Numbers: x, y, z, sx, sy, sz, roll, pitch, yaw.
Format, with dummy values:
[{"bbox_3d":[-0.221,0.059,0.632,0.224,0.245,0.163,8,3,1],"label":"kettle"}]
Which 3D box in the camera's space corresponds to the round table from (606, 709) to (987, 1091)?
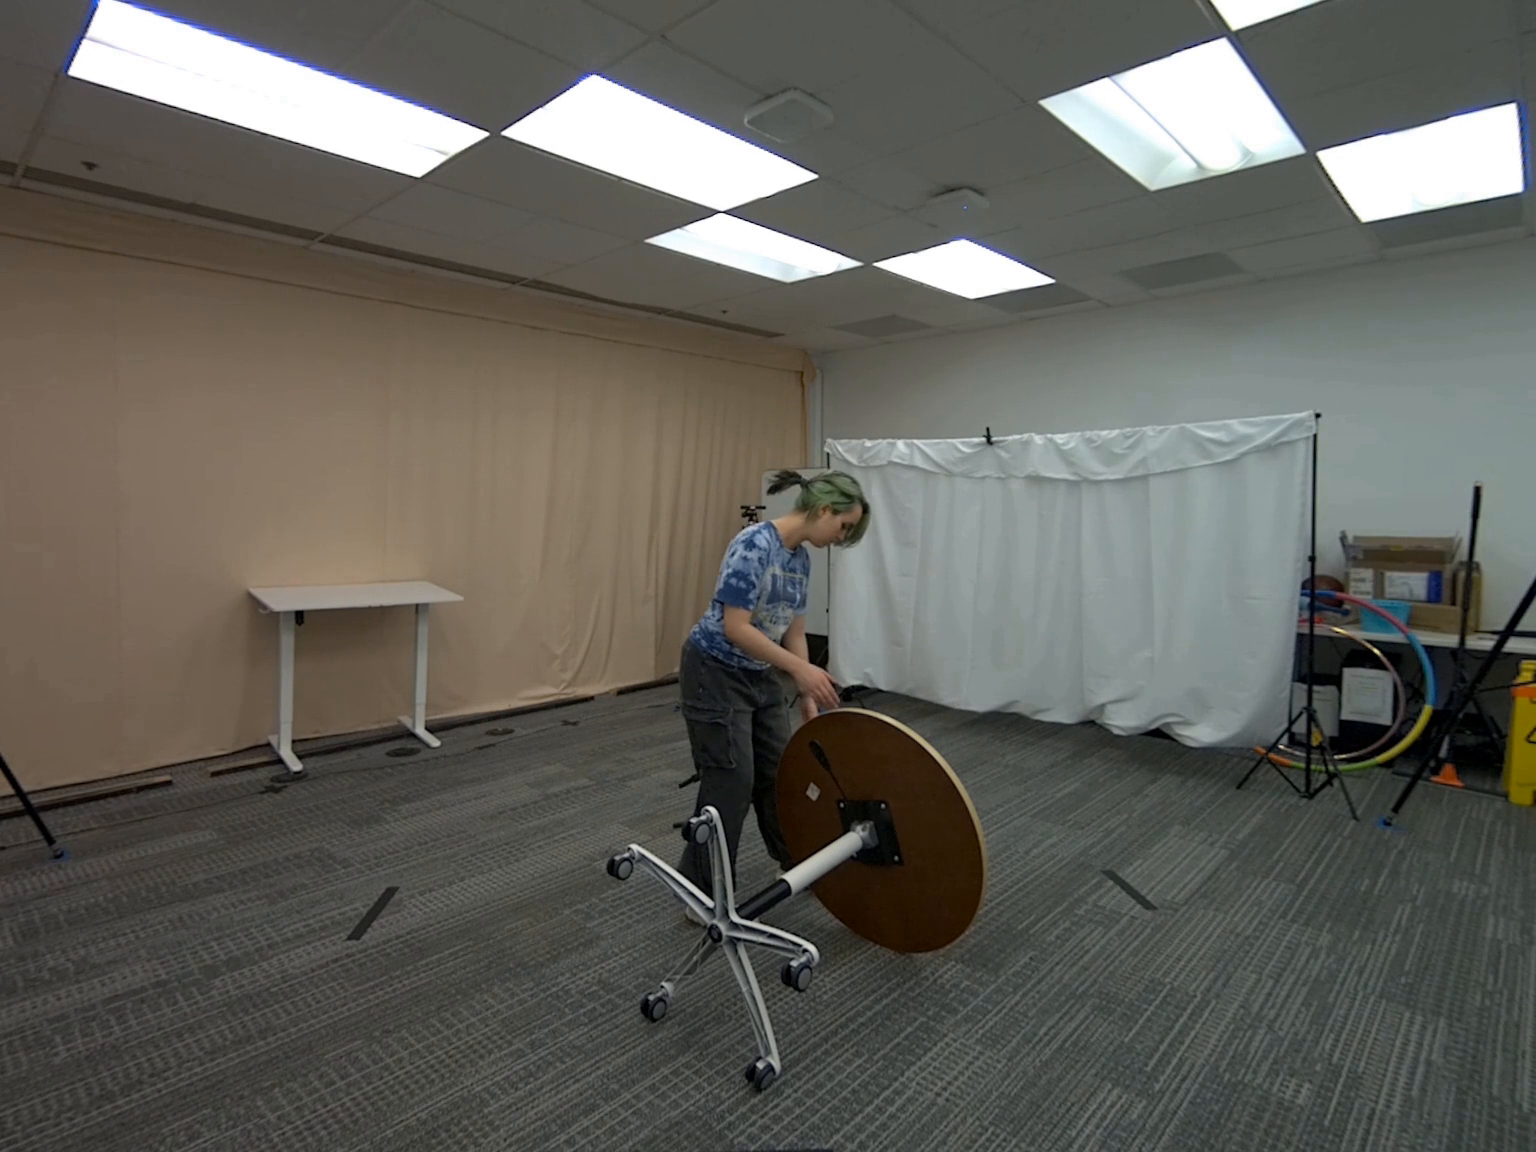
[{"bbox_3d":[0.075,0.855,2.362,0.789,0.759,0.772,4,12,43],"label":"round table"}]
